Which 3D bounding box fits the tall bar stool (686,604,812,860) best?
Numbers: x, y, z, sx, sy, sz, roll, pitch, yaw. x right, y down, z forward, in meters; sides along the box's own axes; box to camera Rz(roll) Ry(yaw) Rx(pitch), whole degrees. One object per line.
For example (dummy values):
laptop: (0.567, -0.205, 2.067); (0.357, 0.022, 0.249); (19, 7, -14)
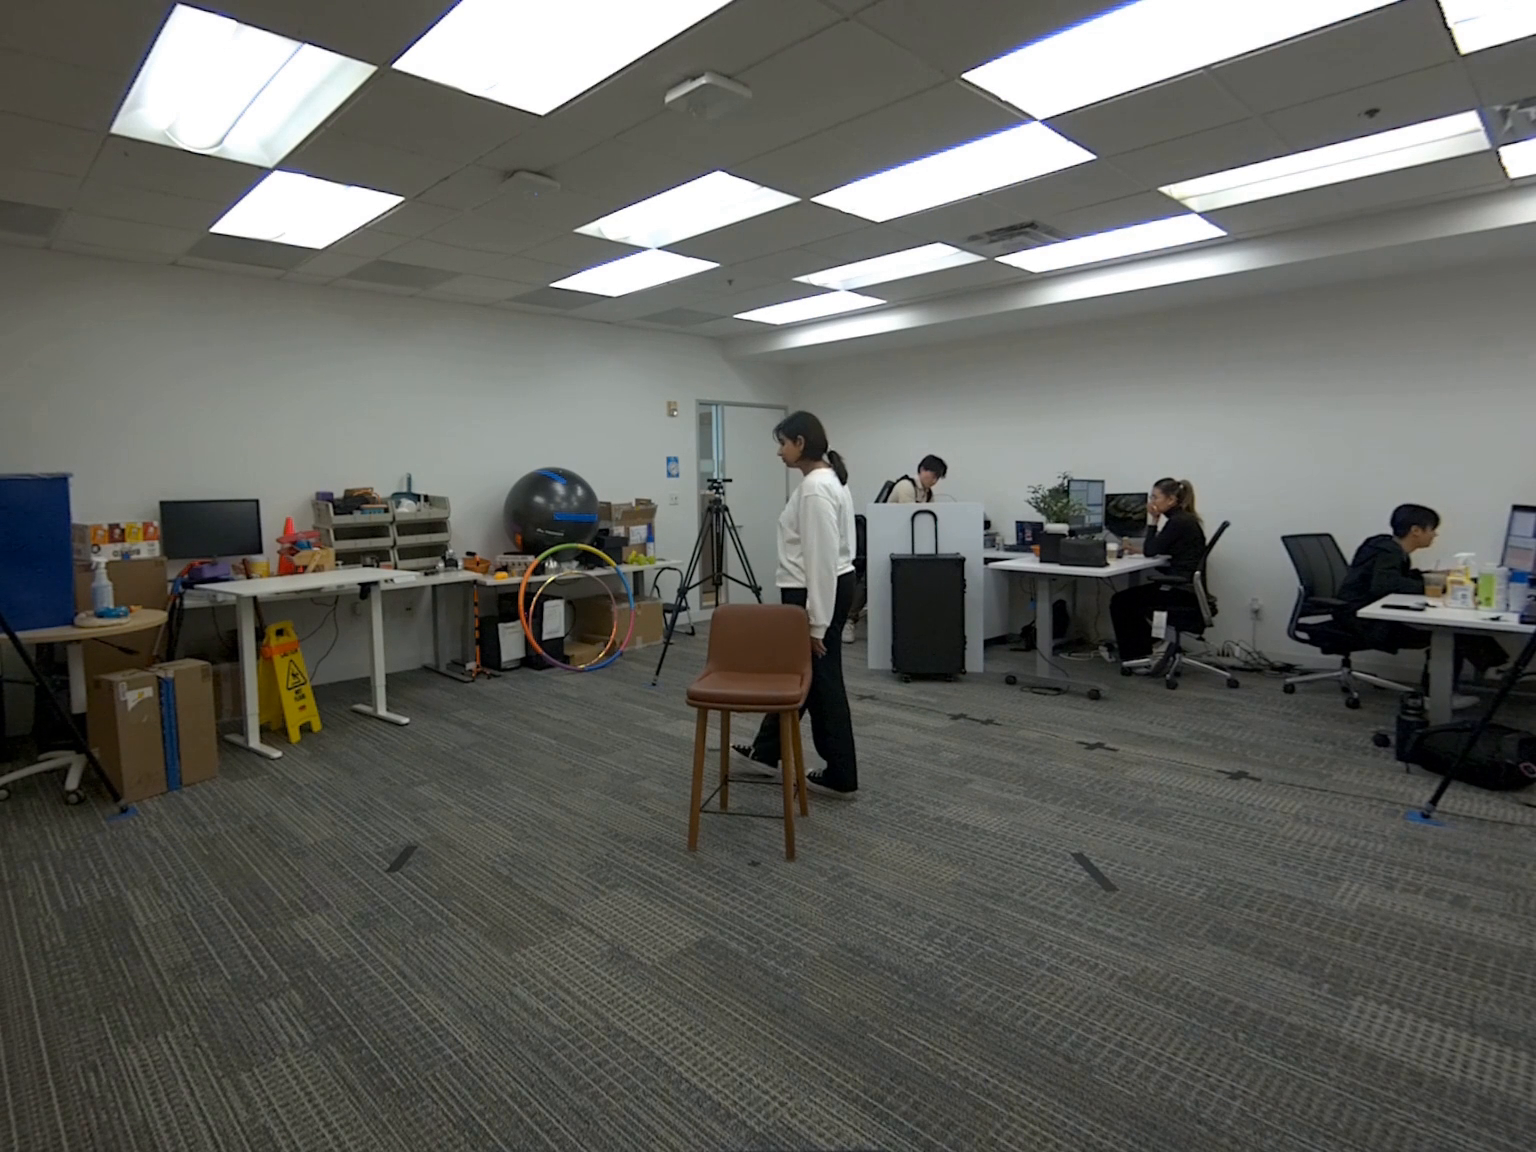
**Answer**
tall bar stool: (-0.064, 0.580, 3.367); (0.463, 0.888, 0.462); (0, 2, 14)
